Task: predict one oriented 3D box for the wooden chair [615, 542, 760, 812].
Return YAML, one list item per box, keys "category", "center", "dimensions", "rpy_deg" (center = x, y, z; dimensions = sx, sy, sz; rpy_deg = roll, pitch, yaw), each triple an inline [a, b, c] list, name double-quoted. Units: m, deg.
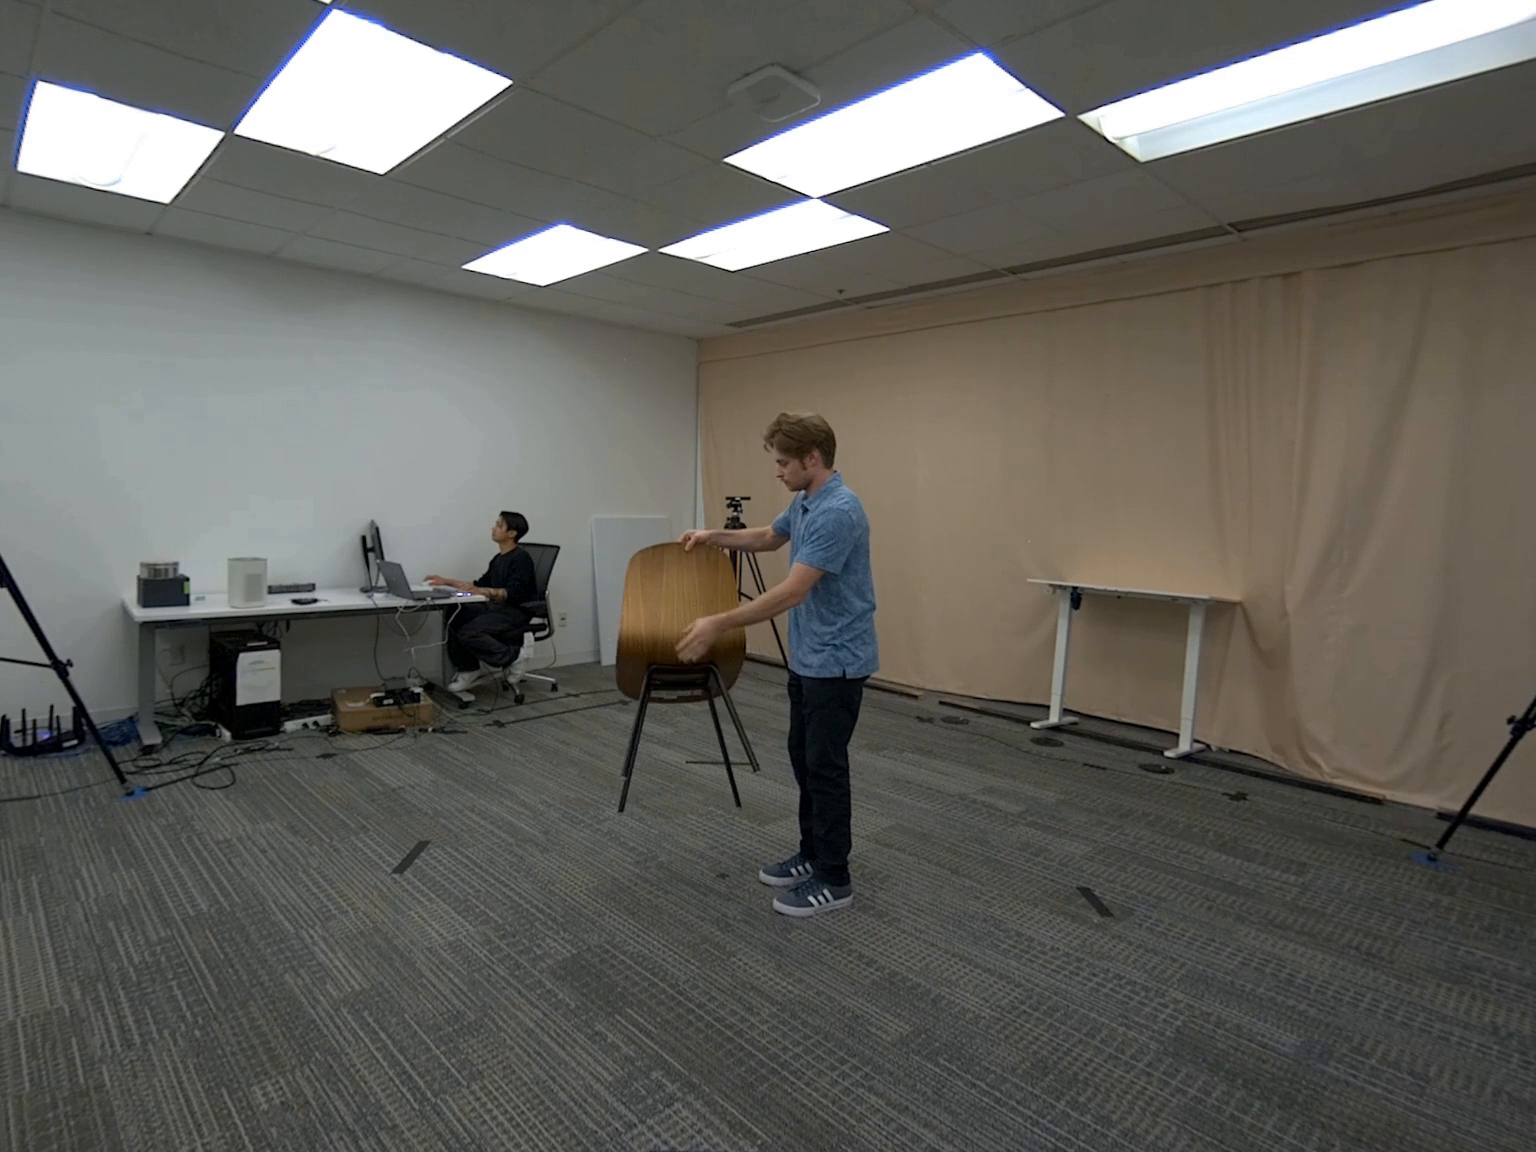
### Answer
- category: "wooden chair"
  center: [-0.333, 0.380, 3.107]
  dimensions: [0.474, 0.895, 0.517]
  rpy_deg: [-1, -27, -10]
